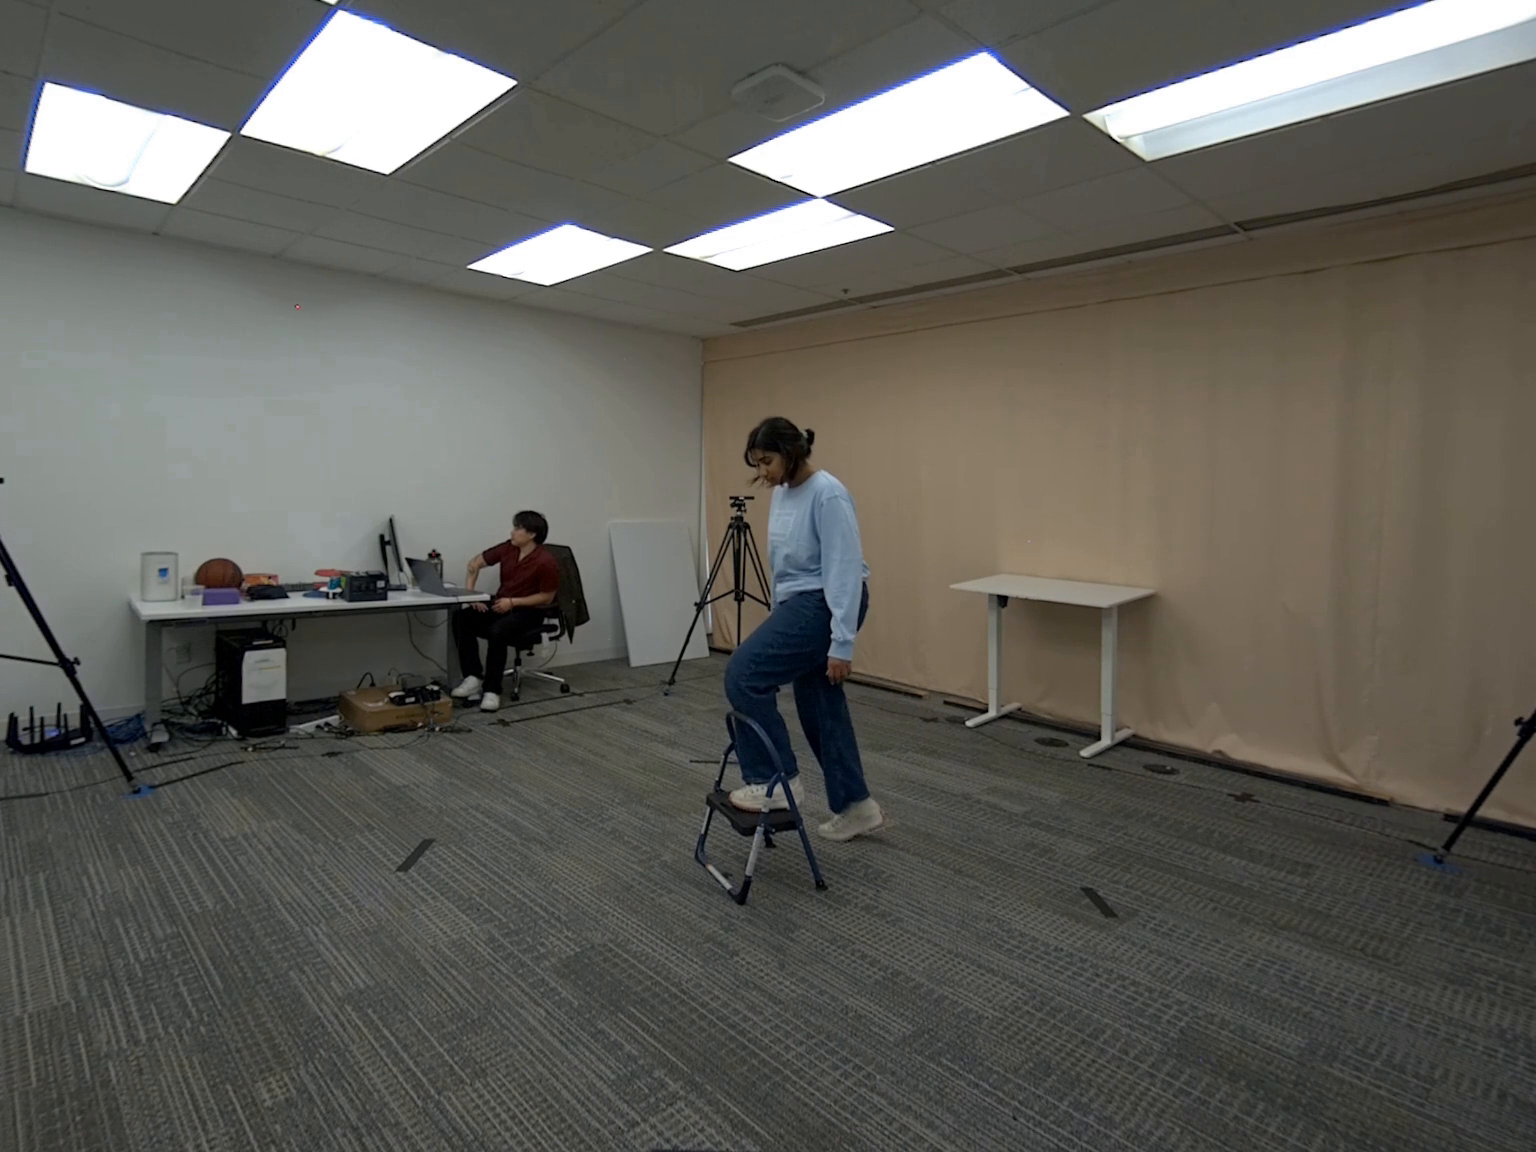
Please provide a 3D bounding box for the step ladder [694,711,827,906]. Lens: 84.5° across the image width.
[{"bbox_3d":[-0.039,0.805,3.109,0.343,0.604,0.440,0,4,-27],"label":"step ladder"}]
